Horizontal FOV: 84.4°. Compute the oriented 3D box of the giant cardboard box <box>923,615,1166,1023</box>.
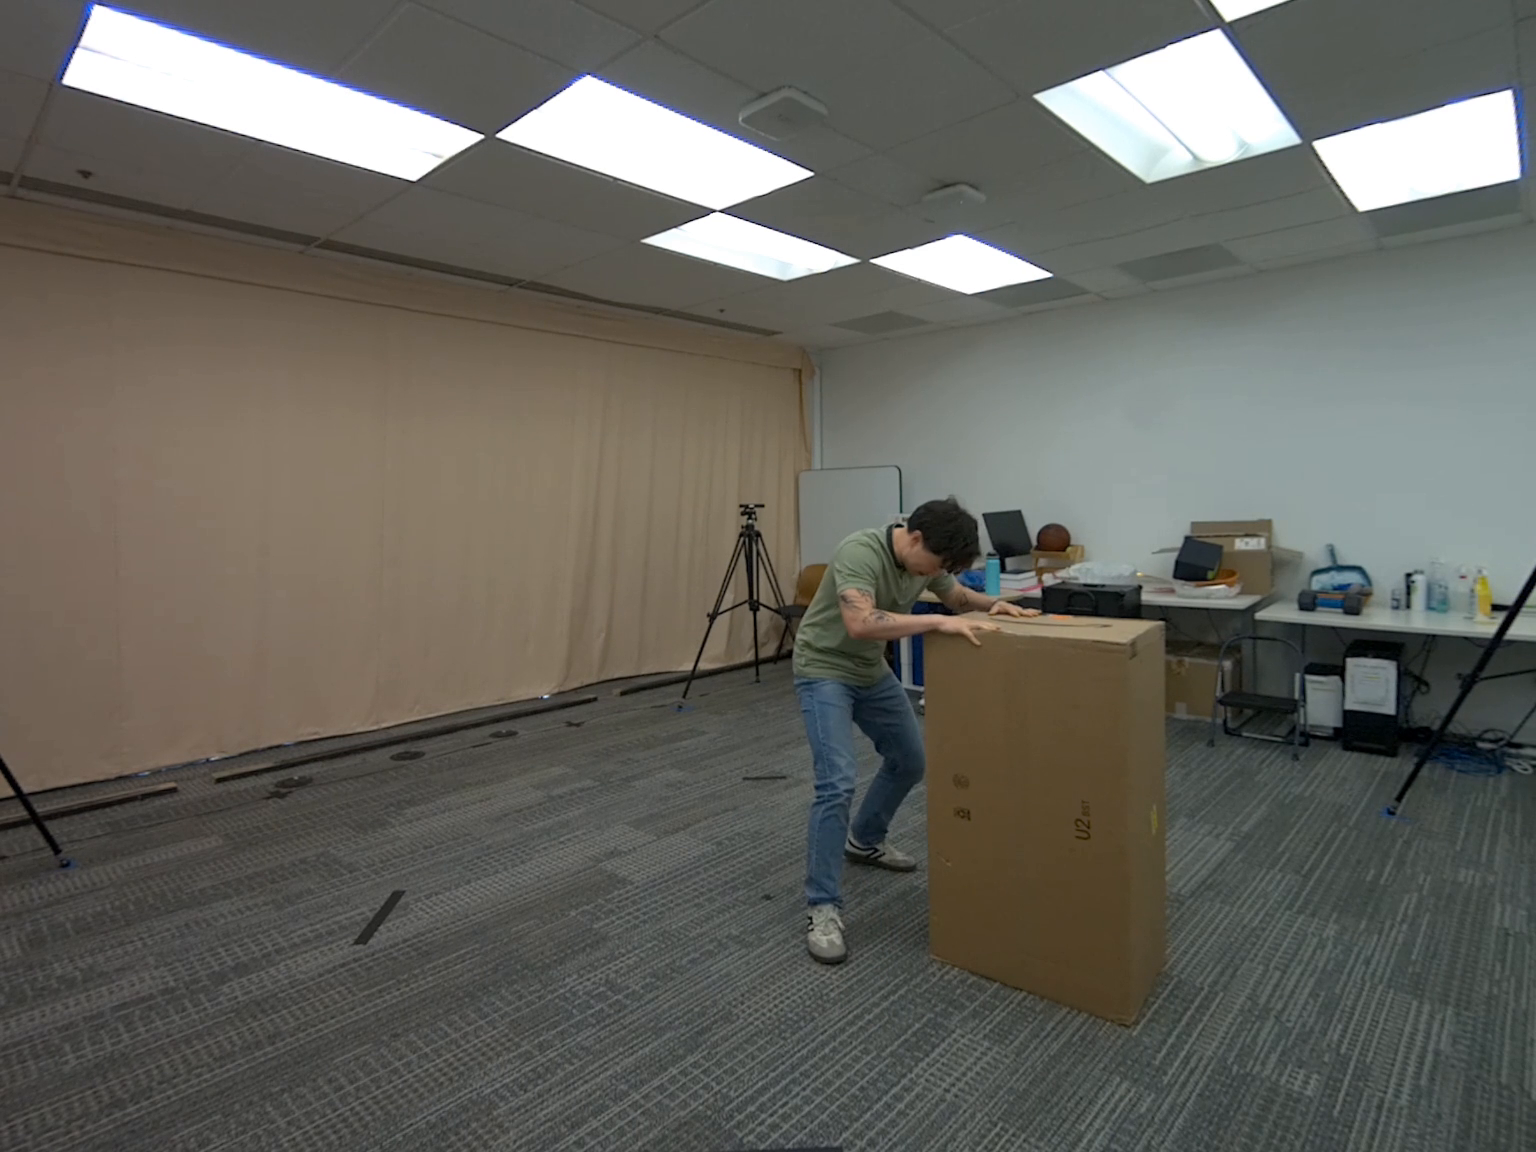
[{"bbox_3d":[0.845,0.659,2.527,0.596,1.023,0.414,2,4,38],"label":"giant cardboard box"}]
